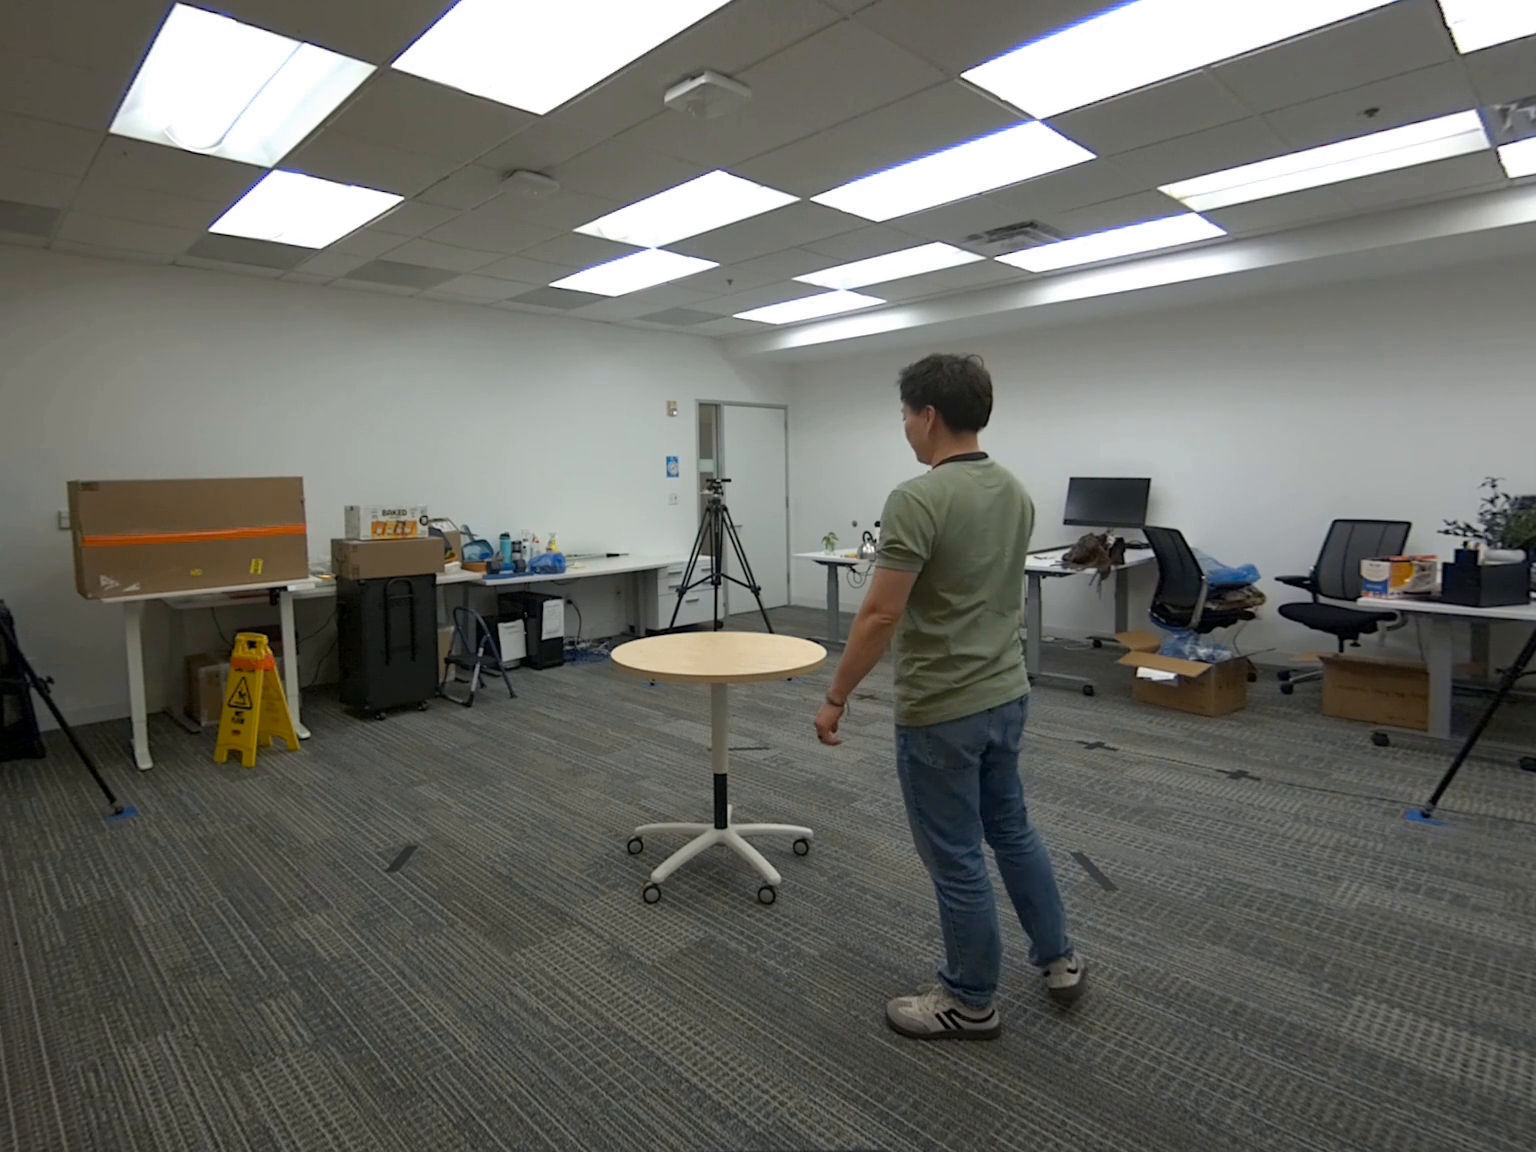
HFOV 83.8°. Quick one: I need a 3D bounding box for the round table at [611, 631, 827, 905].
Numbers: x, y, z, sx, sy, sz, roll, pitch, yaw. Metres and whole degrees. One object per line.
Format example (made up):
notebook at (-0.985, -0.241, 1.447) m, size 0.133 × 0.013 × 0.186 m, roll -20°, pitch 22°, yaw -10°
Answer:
round table at (-0.170, 0.659, 3.075) m, size 0.763 × 0.791 × 0.768 m, roll -1°, pitch 5°, yaw -2°
